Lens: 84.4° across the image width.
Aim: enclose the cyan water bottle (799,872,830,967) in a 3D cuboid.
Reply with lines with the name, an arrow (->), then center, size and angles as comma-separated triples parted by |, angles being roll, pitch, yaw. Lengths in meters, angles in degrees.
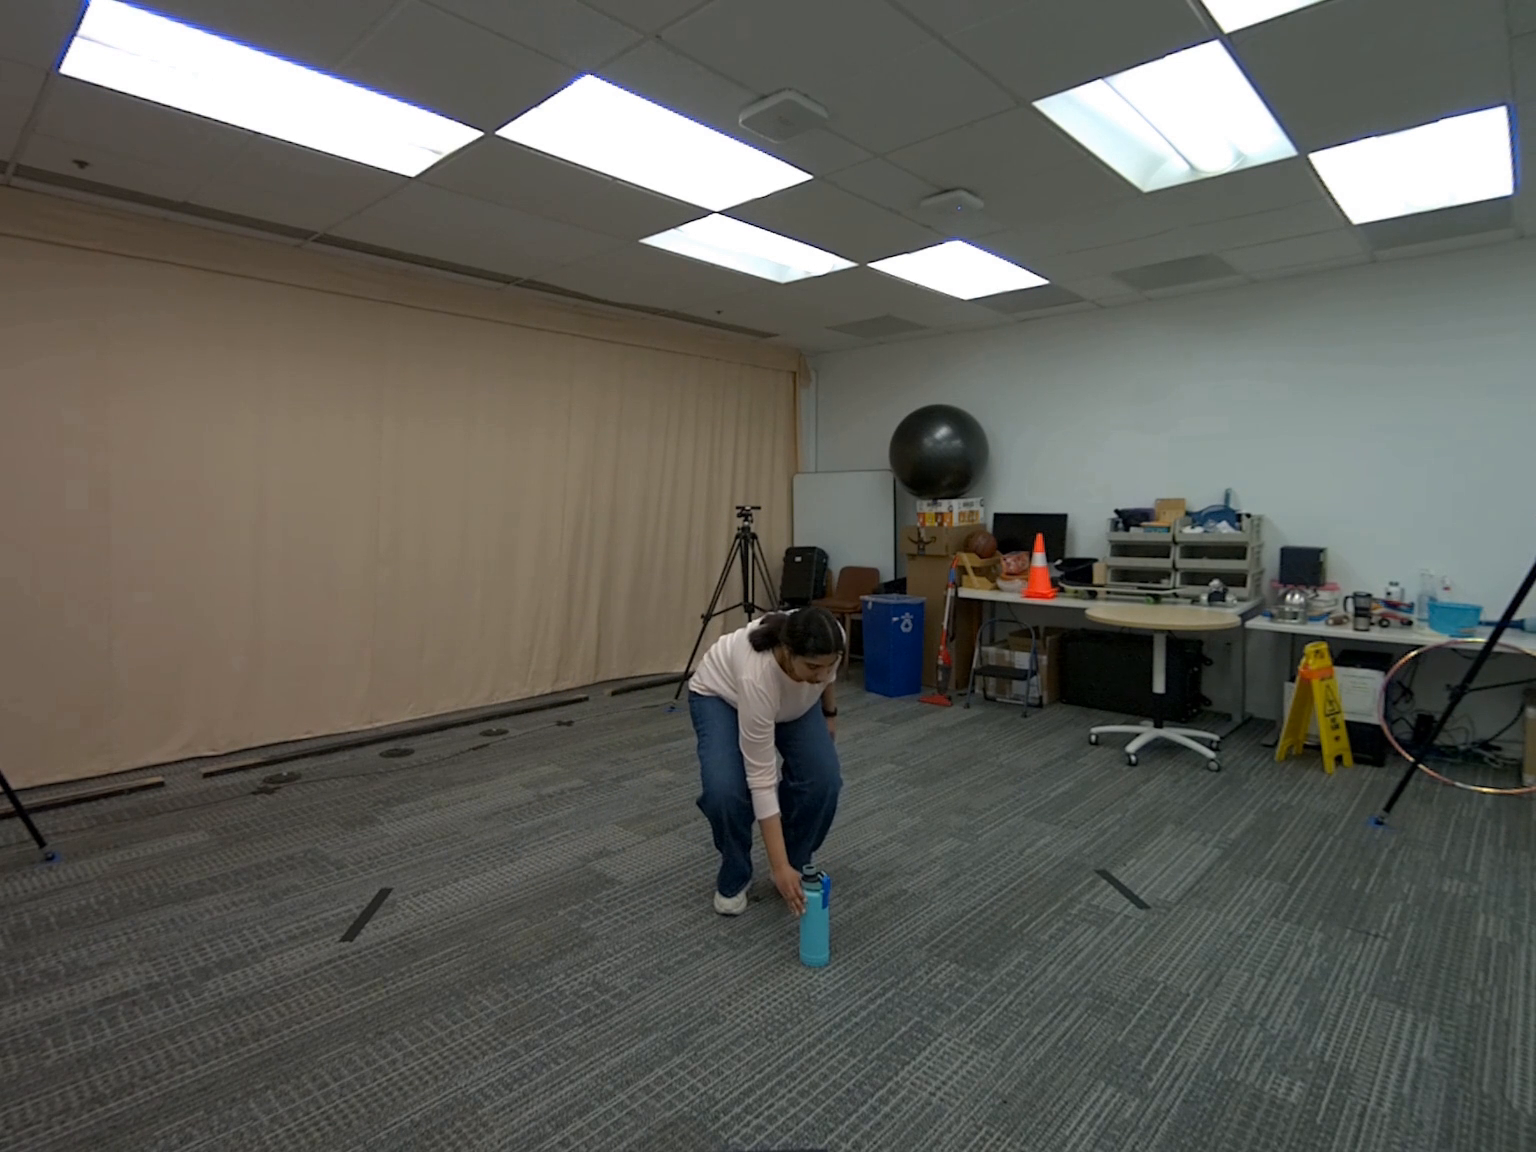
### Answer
cyan water bottle -> 0.142, 1.034, 2.582 | 0.092, 0.283, 0.092 | 0, 2, -2
